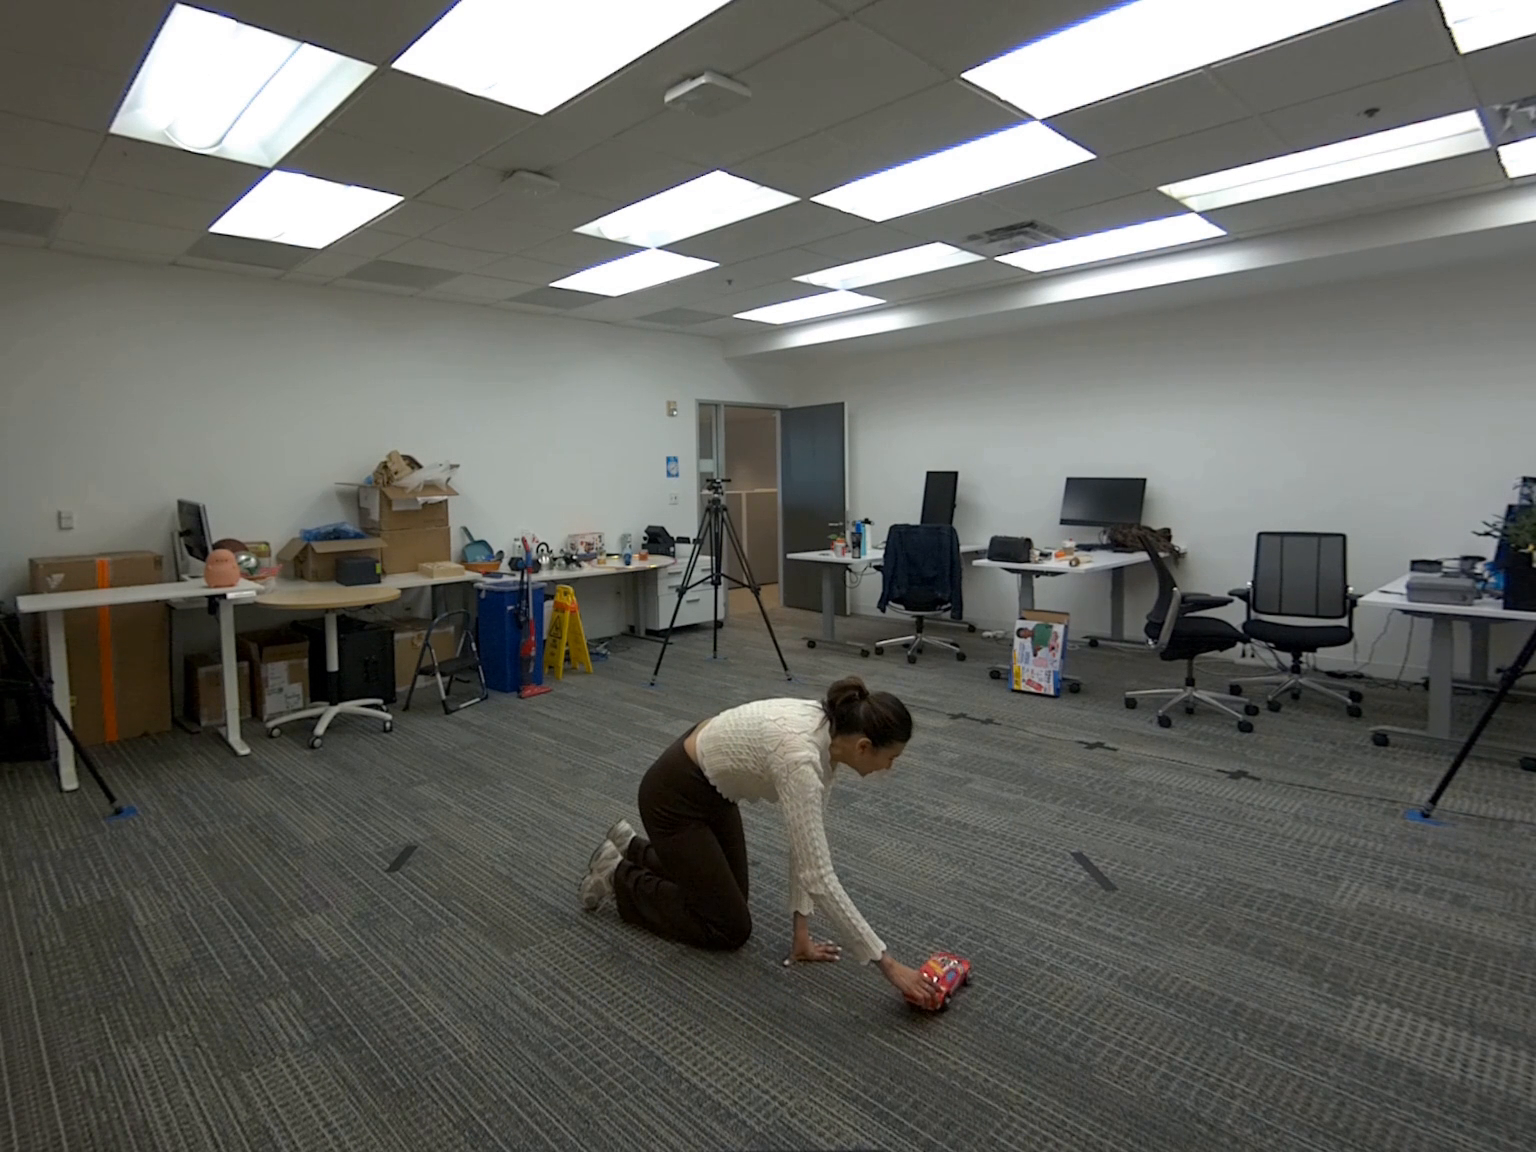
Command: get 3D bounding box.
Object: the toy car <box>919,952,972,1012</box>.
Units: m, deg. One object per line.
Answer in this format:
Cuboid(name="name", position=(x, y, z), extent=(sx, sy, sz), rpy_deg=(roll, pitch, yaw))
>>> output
Cuboid(name="toy car", position=(0.460, 1.095, 2.302), extent=(0.134, 0.083, 0.246), rpy_deg=(5, -2, 39))
